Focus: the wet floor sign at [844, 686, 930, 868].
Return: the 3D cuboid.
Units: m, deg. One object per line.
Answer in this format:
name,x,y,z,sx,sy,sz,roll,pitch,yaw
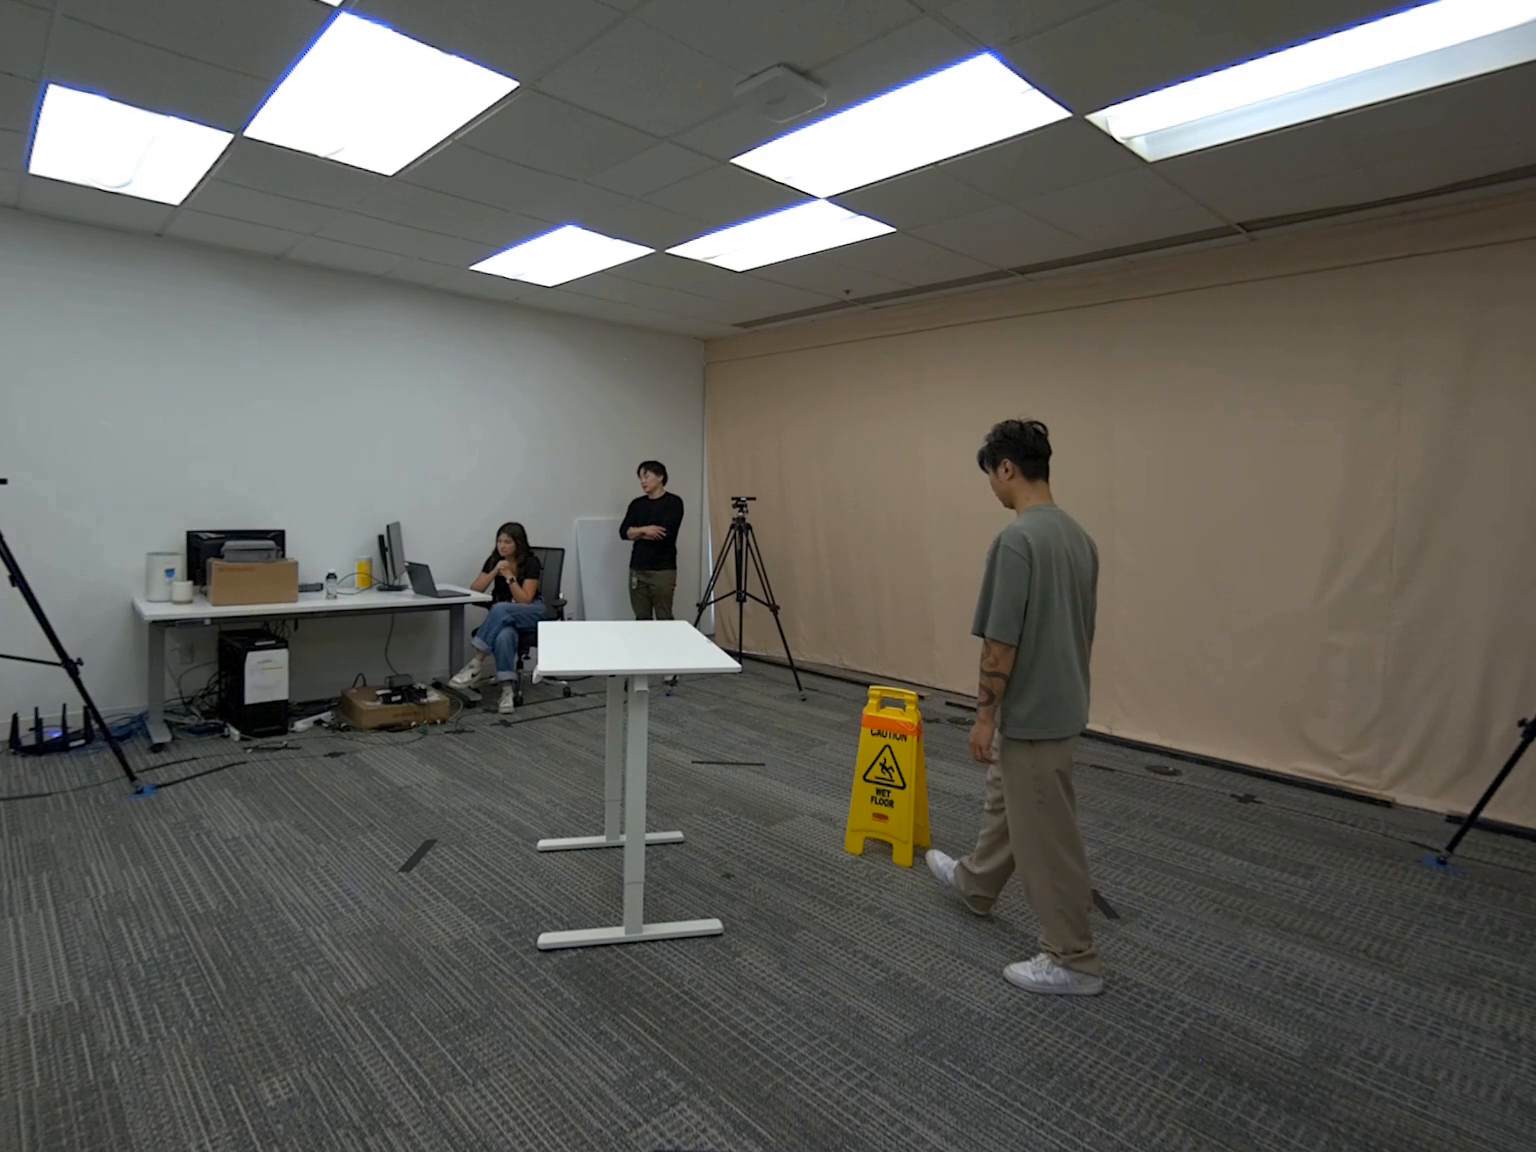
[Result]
wet floor sign,0.483,0.774,3.376,0.288,0.645,0.284,4,3,28
